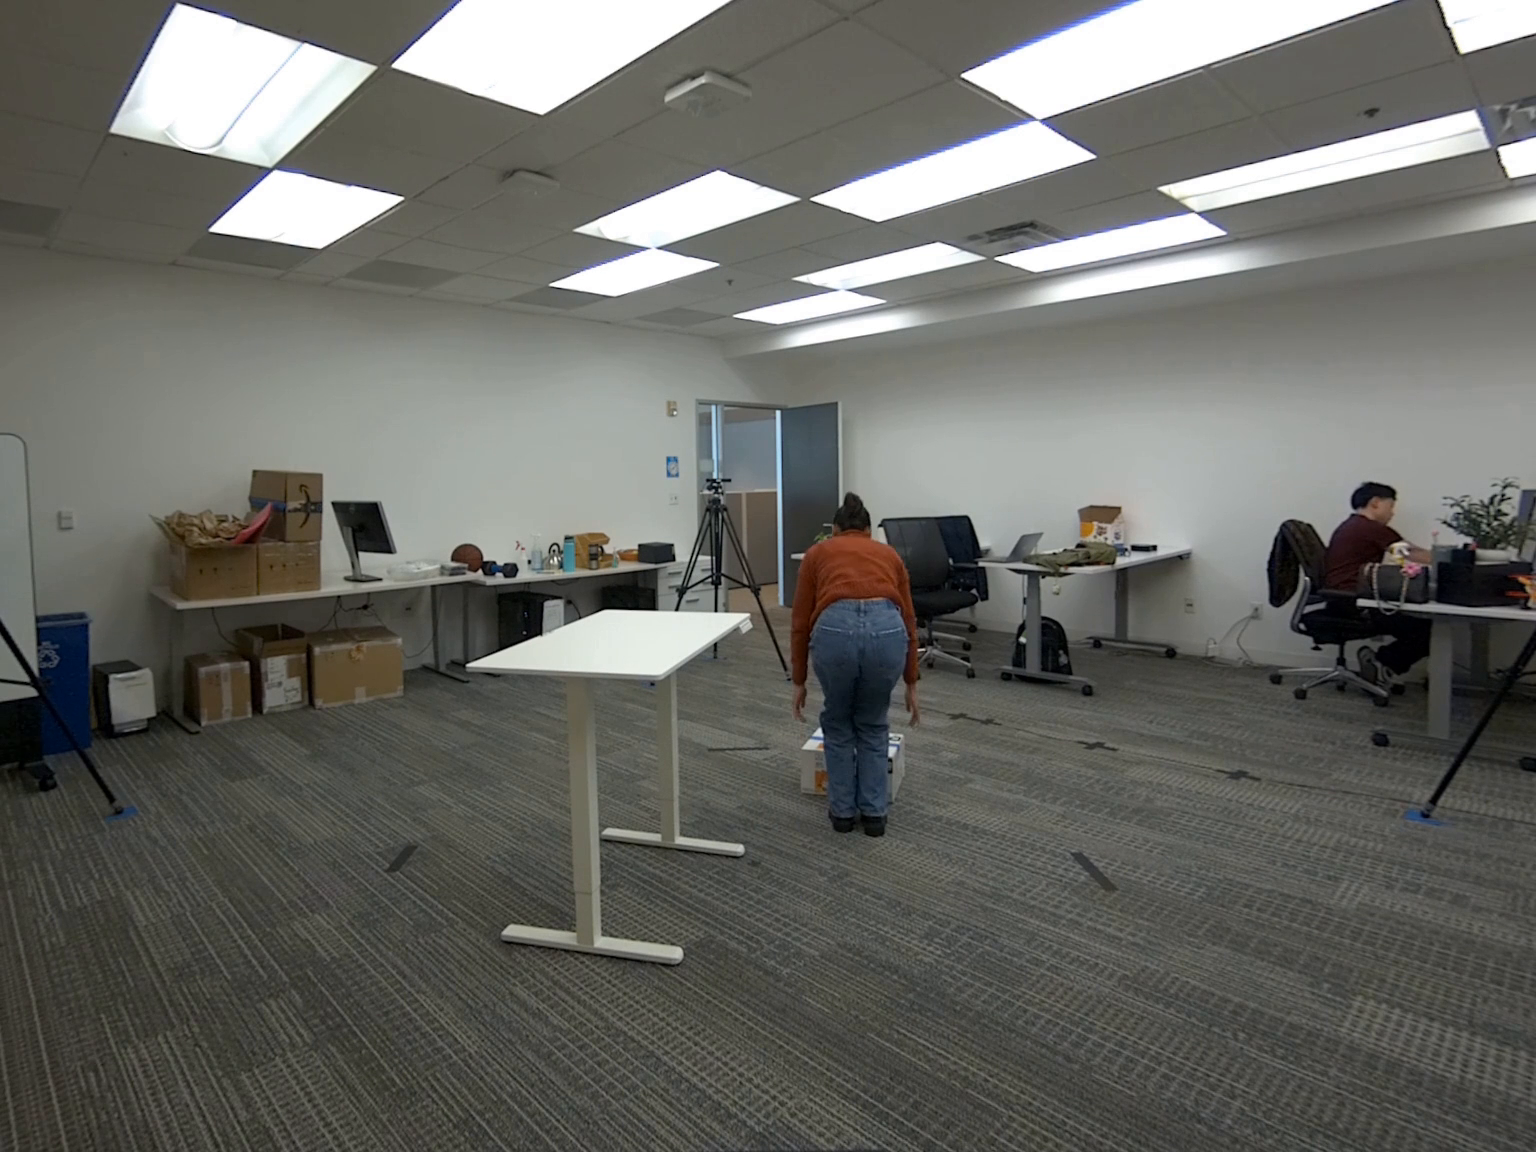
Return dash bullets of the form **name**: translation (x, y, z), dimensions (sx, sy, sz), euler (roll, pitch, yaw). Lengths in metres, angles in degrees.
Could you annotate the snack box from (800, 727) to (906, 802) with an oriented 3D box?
- **snack box**: translation (0.391, 0.848, 3.873), dimensions (0.412, 0.205, 0.336), euler (1, 6, 18)
